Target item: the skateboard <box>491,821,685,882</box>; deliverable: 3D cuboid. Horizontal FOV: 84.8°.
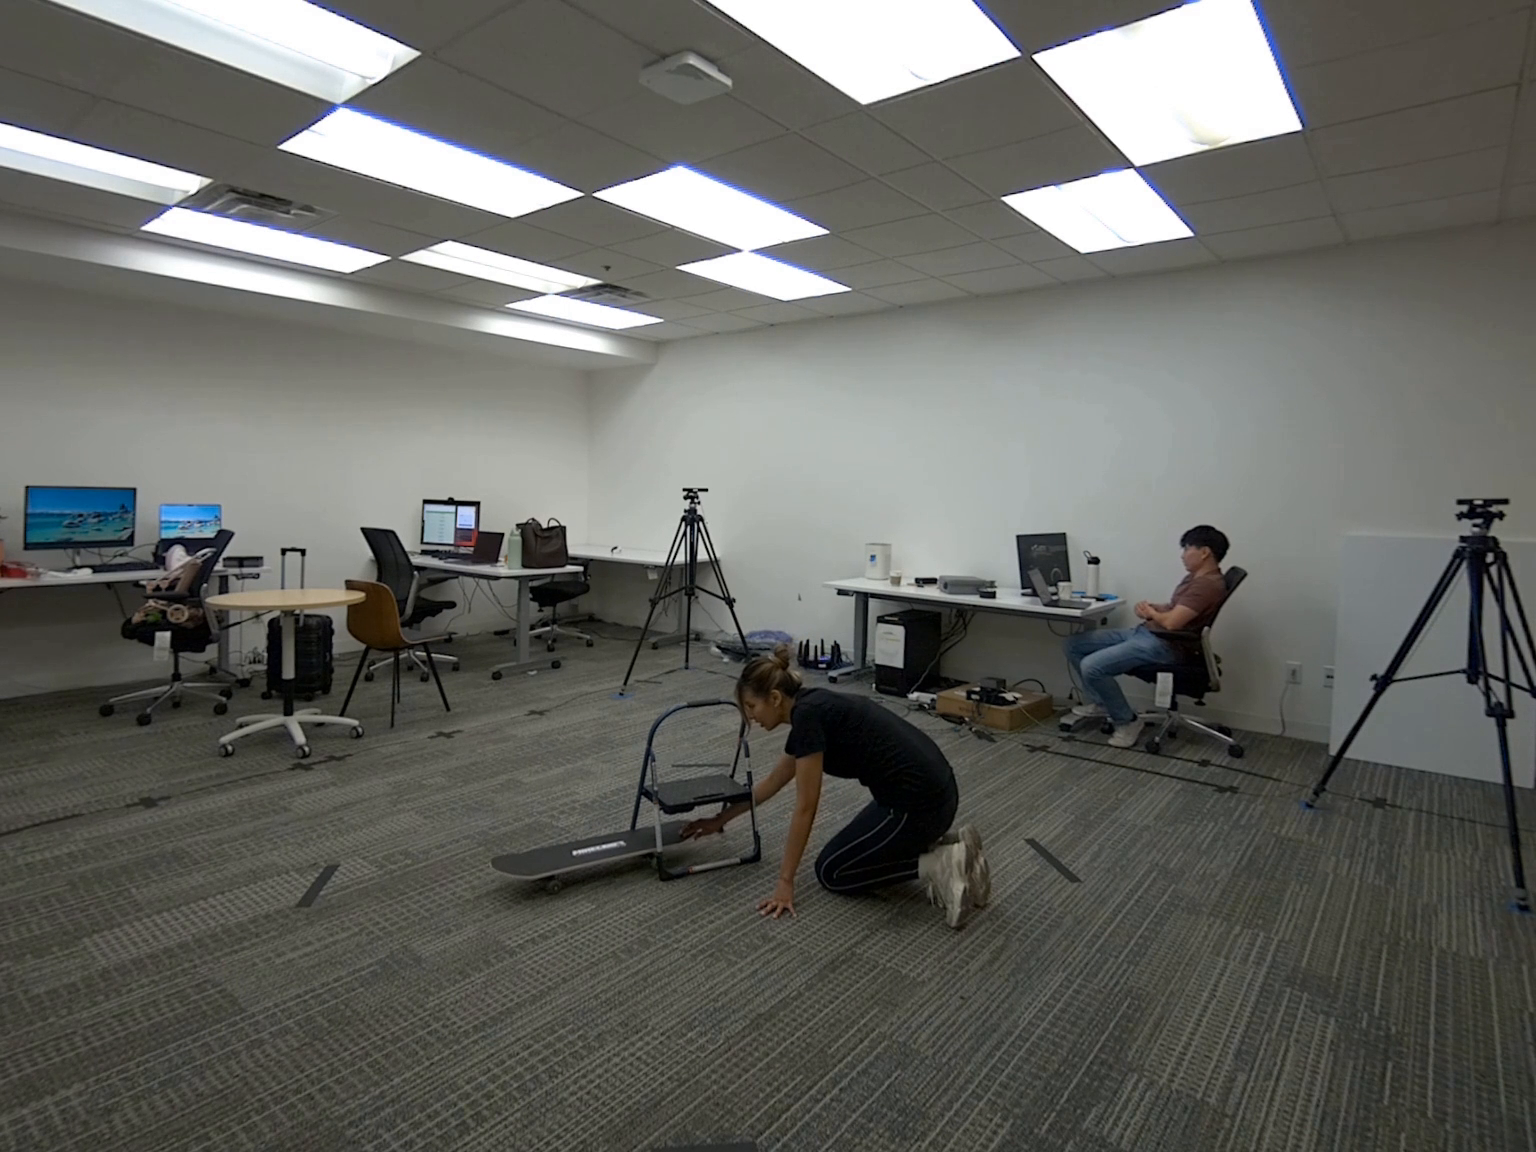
[{"bbox_3d":[-0.616,1.009,3.068,0.765,0.110,0.199,-2,5,-30],"label":"skateboard"}]
